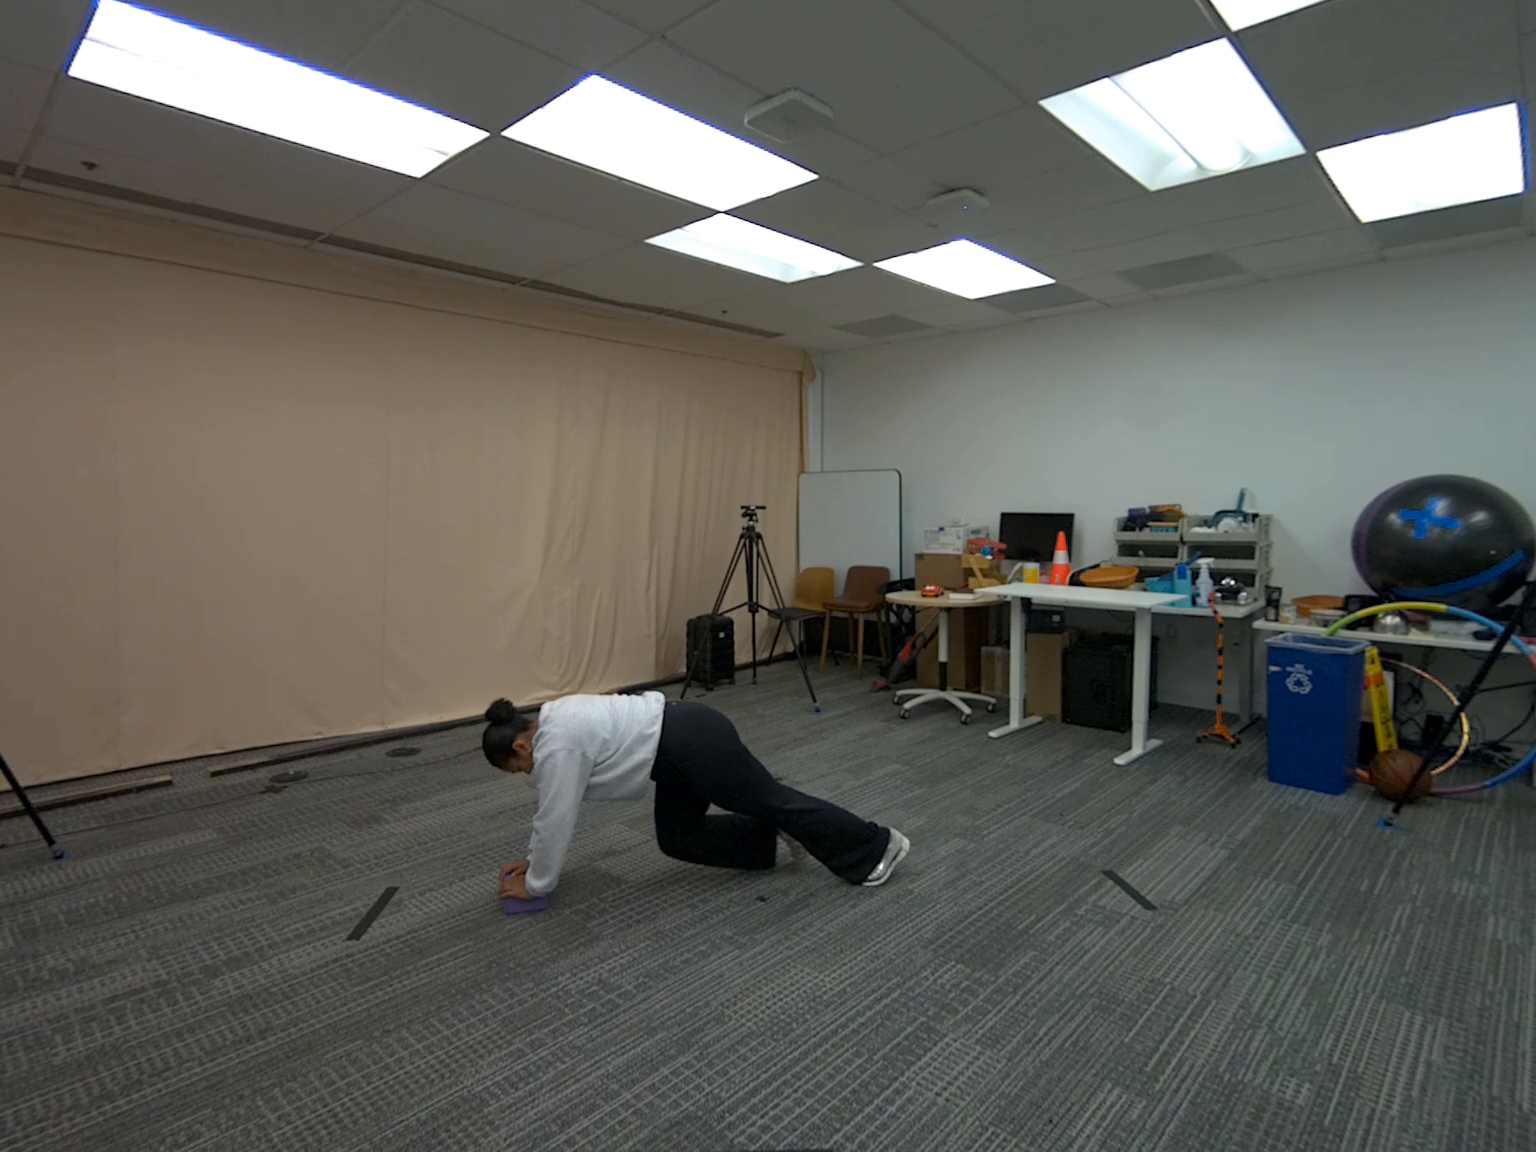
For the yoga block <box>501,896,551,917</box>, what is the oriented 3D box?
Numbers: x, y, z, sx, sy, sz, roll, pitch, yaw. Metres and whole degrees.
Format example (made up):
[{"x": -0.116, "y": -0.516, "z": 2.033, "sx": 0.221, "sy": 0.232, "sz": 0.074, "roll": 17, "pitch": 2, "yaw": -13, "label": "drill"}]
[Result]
[{"x": -0.869, "y": 1.124, "z": 2.997, "sx": 0.147, "sy": 0.076, "sz": 0.234, "roll": -2, "pitch": 6, "yaw": -16, "label": "yoga block"}]
